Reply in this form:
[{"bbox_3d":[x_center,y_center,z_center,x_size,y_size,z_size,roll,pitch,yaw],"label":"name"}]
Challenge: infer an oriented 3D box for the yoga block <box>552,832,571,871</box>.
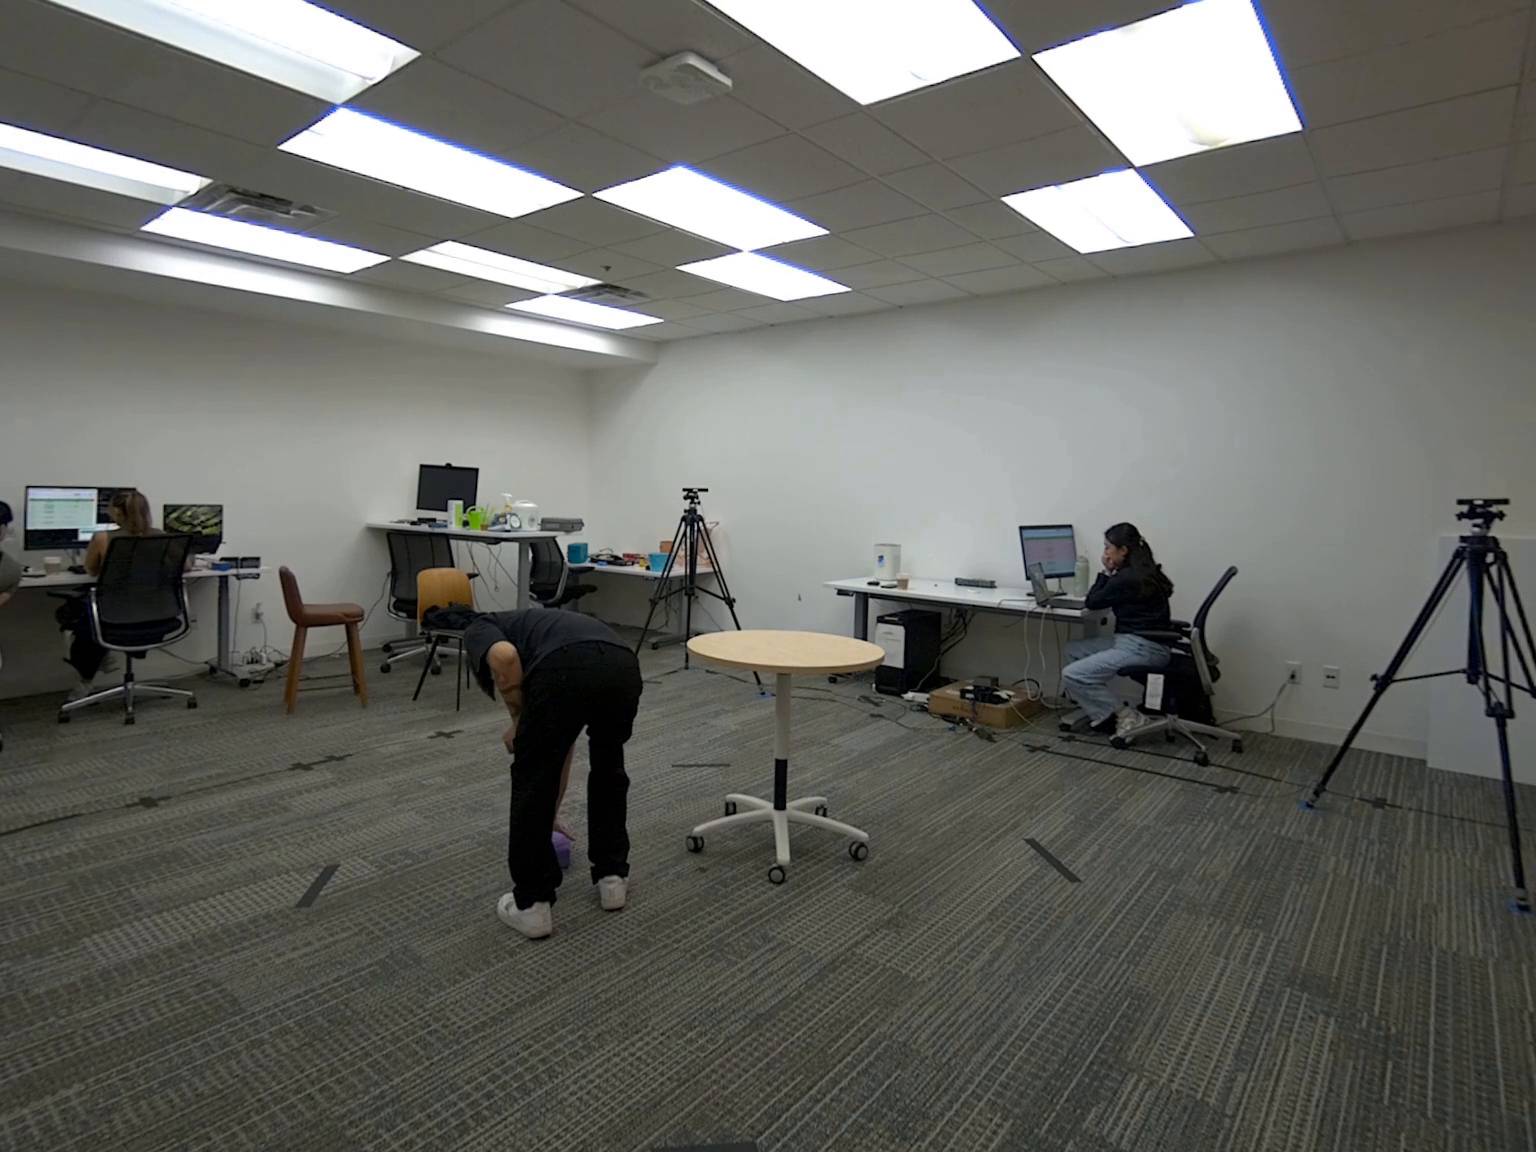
[{"bbox_3d":[-0.824,1.007,3.180,0.147,0.076,0.233,2,5,-13],"label":"yoga block"}]
